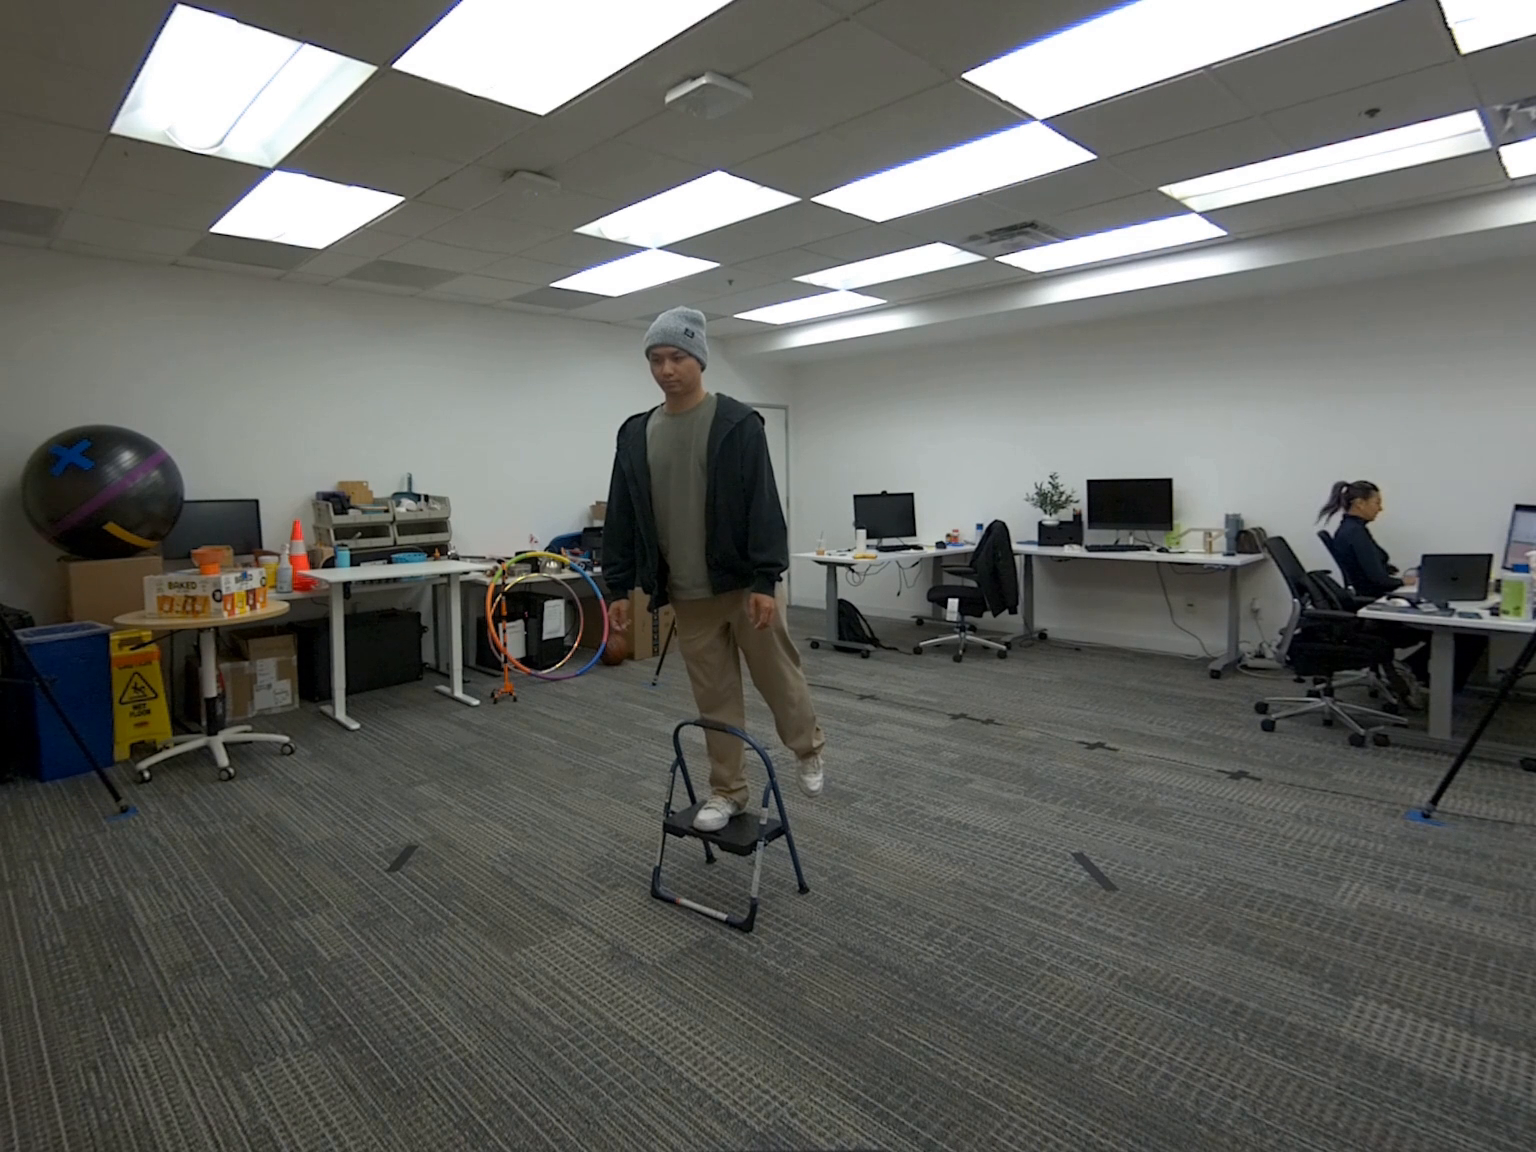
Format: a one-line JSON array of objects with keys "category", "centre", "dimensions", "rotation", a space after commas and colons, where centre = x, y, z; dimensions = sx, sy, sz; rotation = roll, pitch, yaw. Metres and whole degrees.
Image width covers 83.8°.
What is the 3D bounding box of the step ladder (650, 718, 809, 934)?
[{"category": "step ladder", "centre": [-0.135, 0.773, 2.864], "dimensions": [0.443, 0.603, 0.341], "rotation": [2, 6, 35]}]
